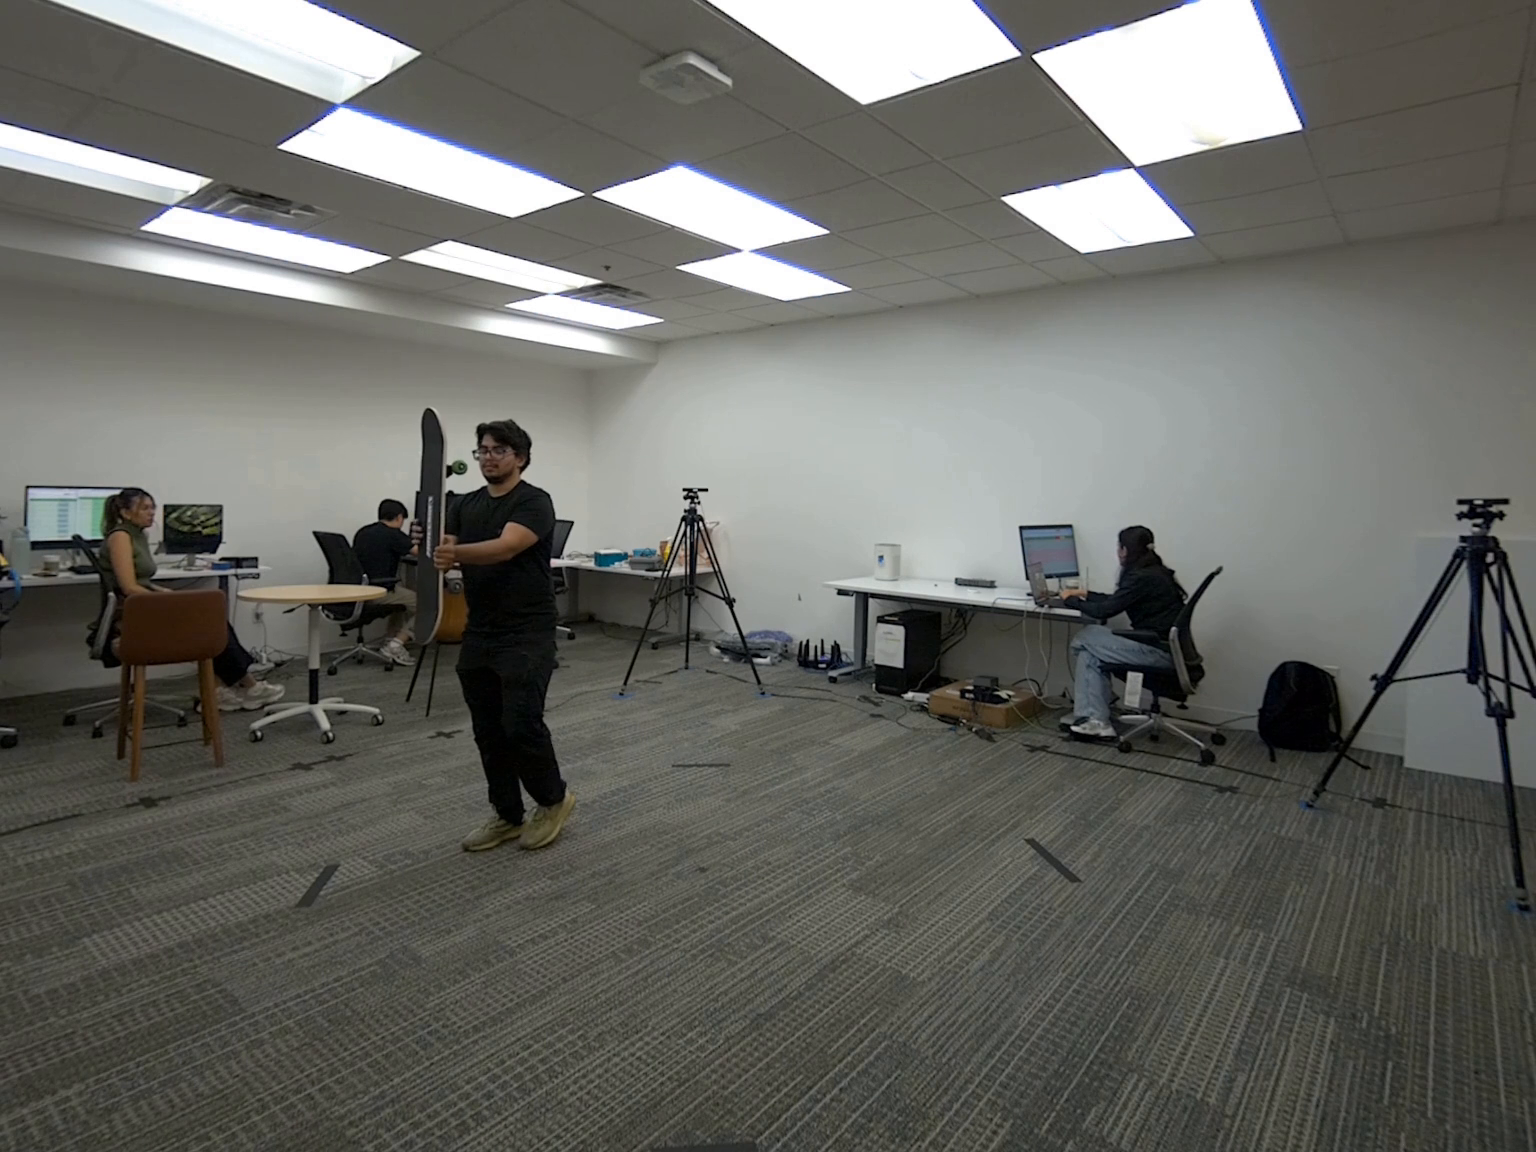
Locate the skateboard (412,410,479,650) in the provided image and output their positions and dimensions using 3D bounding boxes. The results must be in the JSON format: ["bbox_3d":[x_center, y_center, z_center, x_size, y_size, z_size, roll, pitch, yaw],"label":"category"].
[{"bbox_3d":[-1.104,-0.161,2.865,0.107,0.785,0.200,3,1,-40],"label":"skateboard"}]
